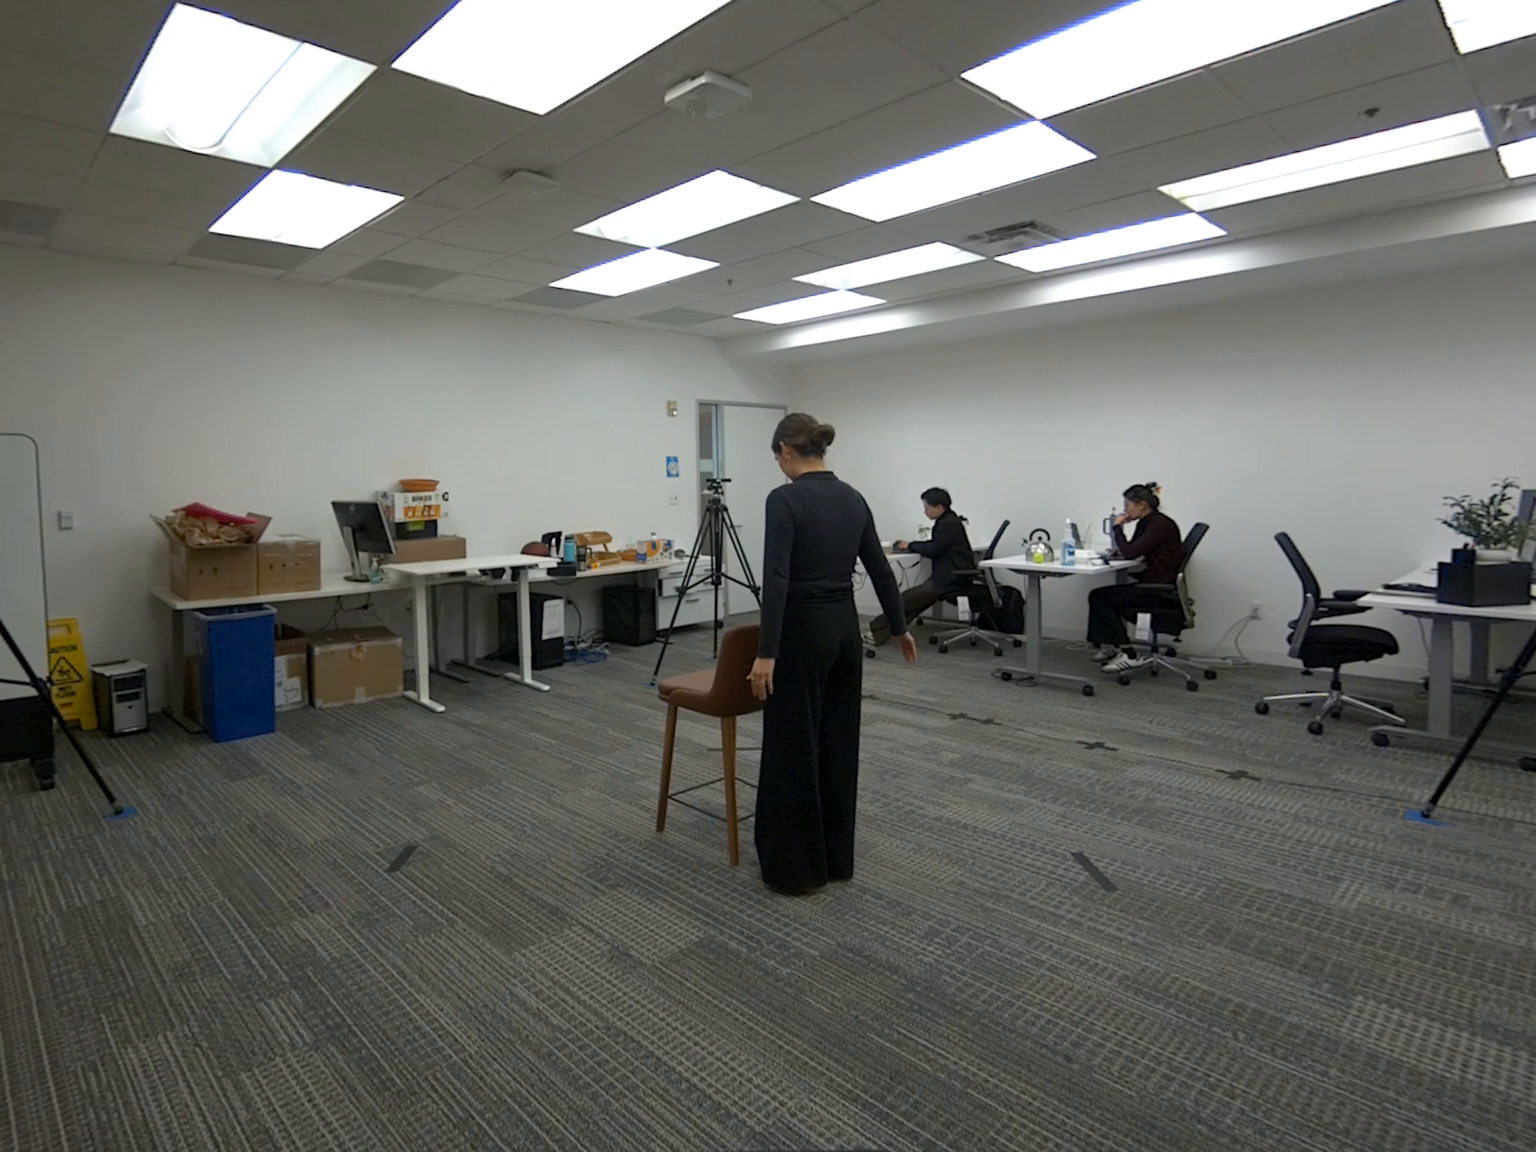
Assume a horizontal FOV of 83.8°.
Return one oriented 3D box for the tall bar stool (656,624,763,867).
[{"bbox_3d":[-0.146,0.581,3.336,0.444,0.885,0.482,-5,8,-43],"label":"tall bar stool"}]
